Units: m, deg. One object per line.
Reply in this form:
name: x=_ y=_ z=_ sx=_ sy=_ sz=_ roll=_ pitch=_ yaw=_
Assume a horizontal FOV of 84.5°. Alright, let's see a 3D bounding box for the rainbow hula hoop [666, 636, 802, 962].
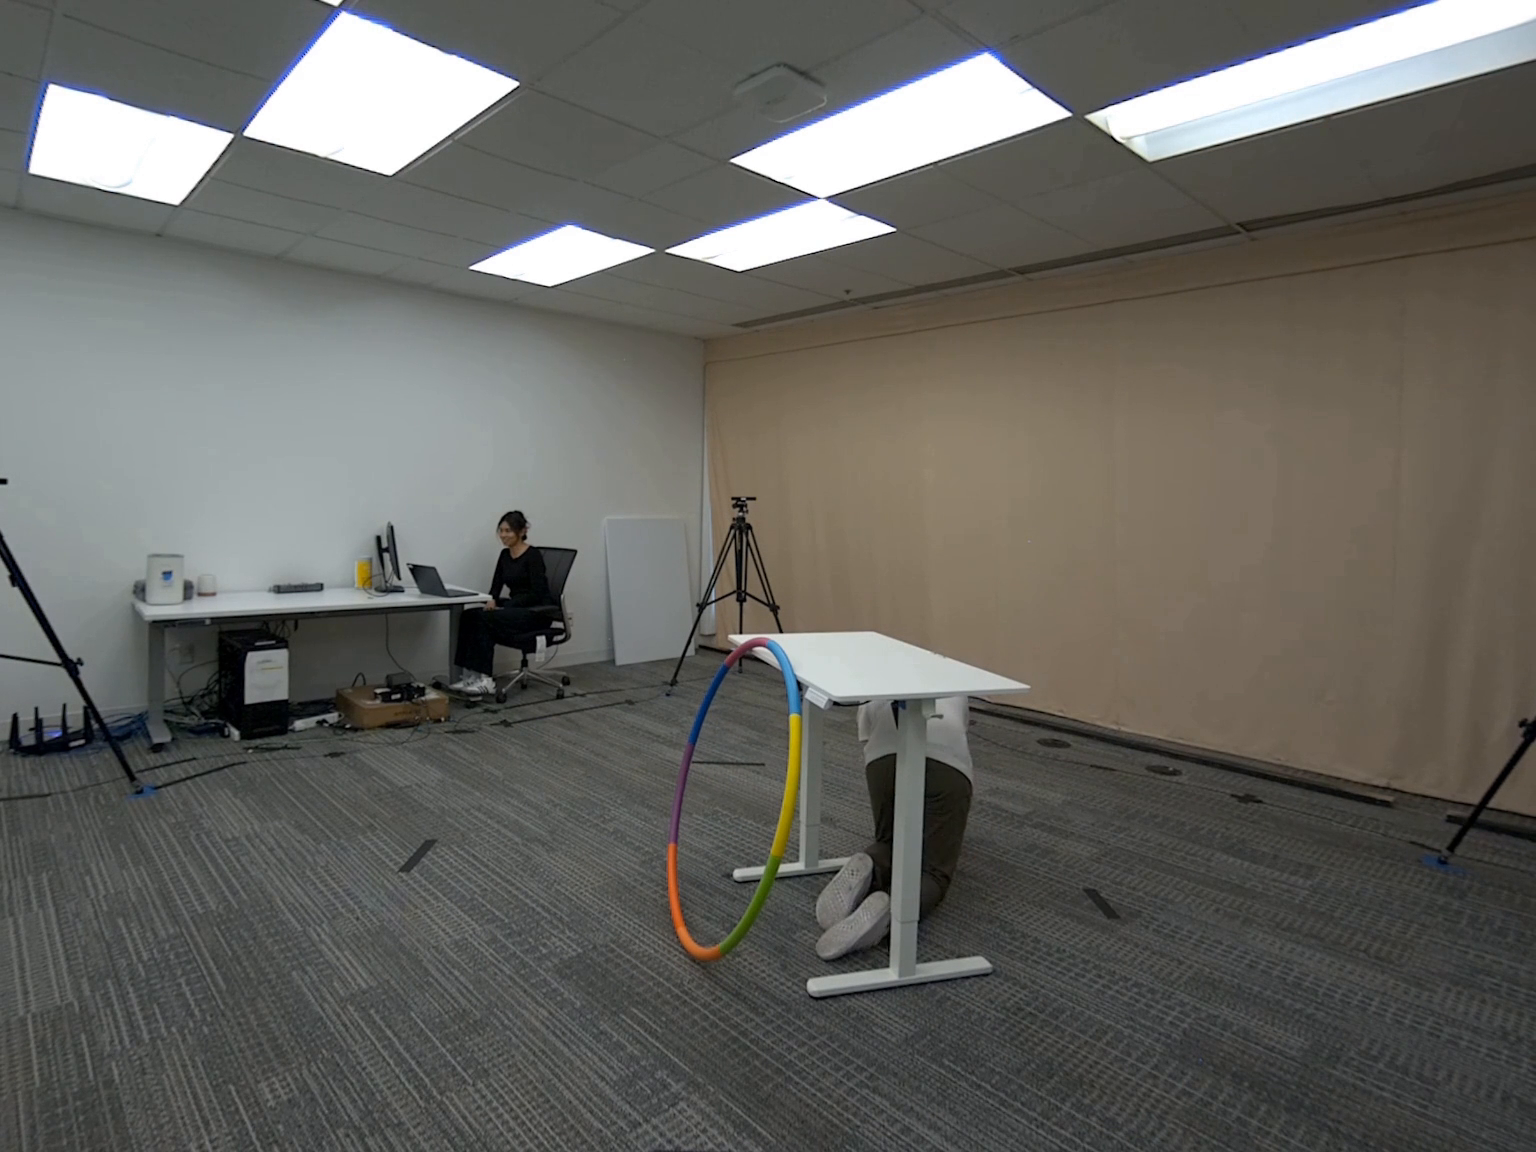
rainbow hula hoop: x=-0.141 y=0.681 z=2.655 sx=0.035 sy=0.979 sz=0.995 roll=17 pitch=-1 yaw=-20
